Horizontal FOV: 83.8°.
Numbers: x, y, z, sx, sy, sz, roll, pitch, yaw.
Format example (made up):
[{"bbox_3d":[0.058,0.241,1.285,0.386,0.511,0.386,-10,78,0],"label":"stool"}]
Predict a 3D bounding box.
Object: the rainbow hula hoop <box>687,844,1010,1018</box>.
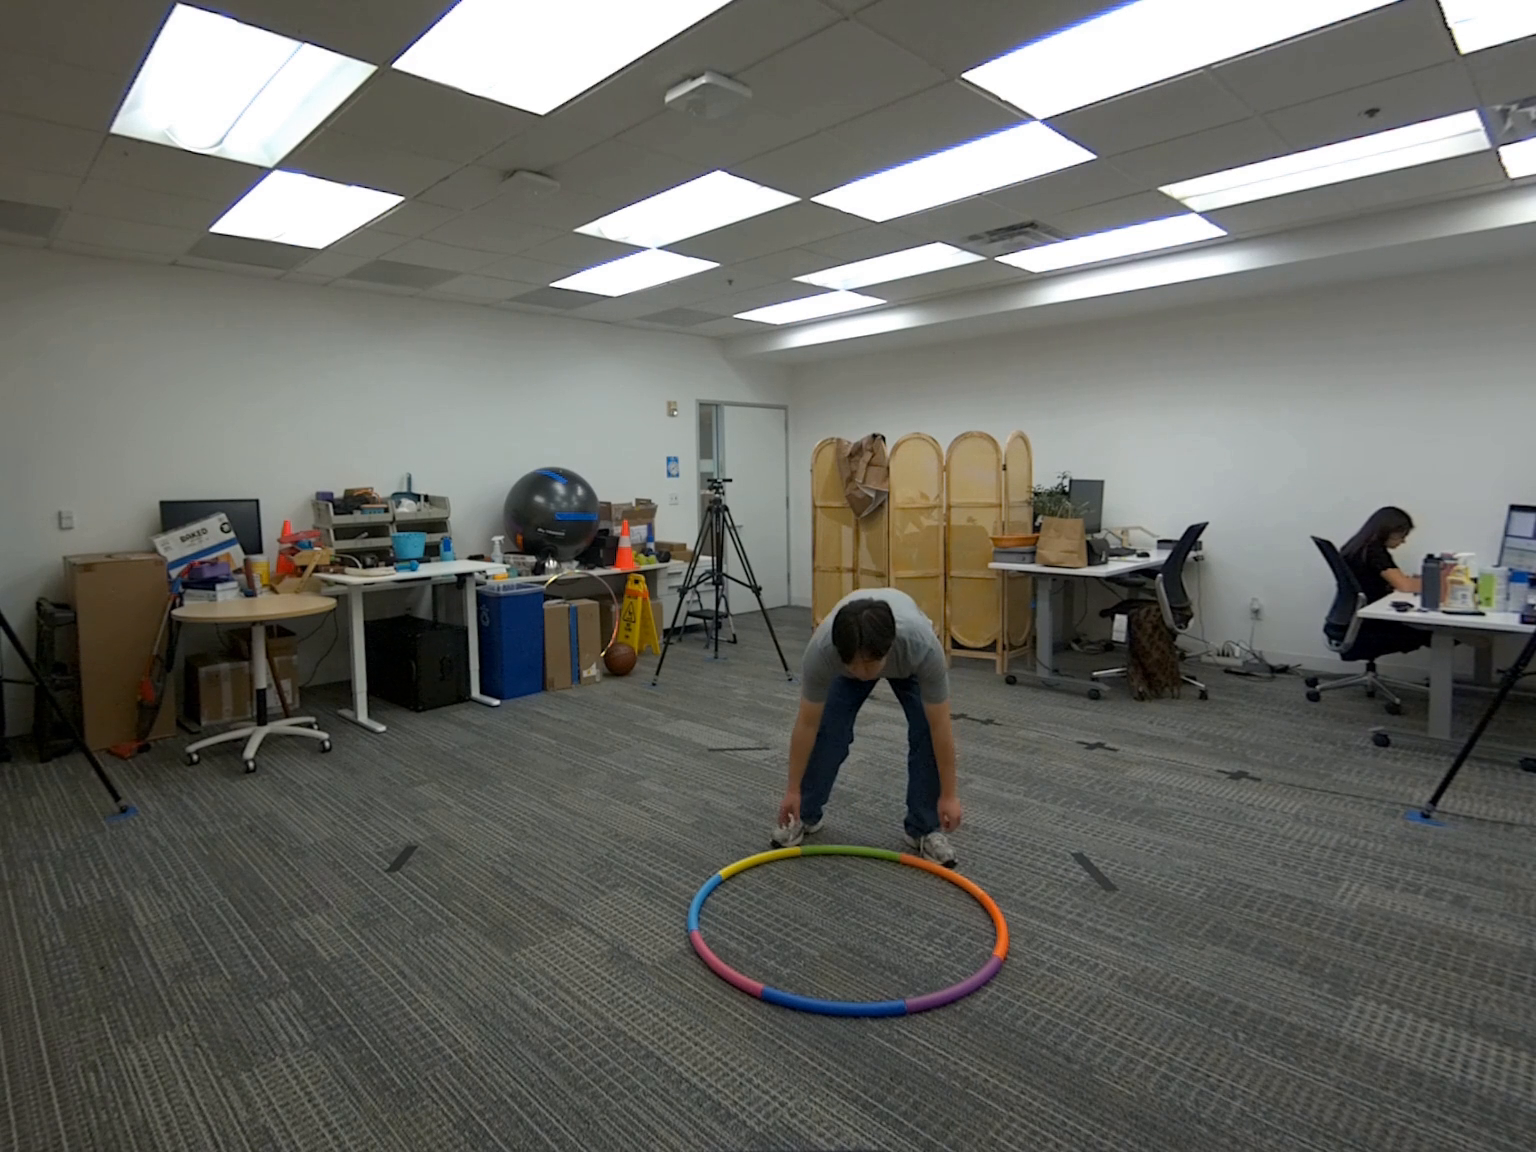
[{"bbox_3d":[0.239,1.057,2.699,0.978,0.035,0.984,-2,7,-2],"label":"rainbow hula hoop"}]
